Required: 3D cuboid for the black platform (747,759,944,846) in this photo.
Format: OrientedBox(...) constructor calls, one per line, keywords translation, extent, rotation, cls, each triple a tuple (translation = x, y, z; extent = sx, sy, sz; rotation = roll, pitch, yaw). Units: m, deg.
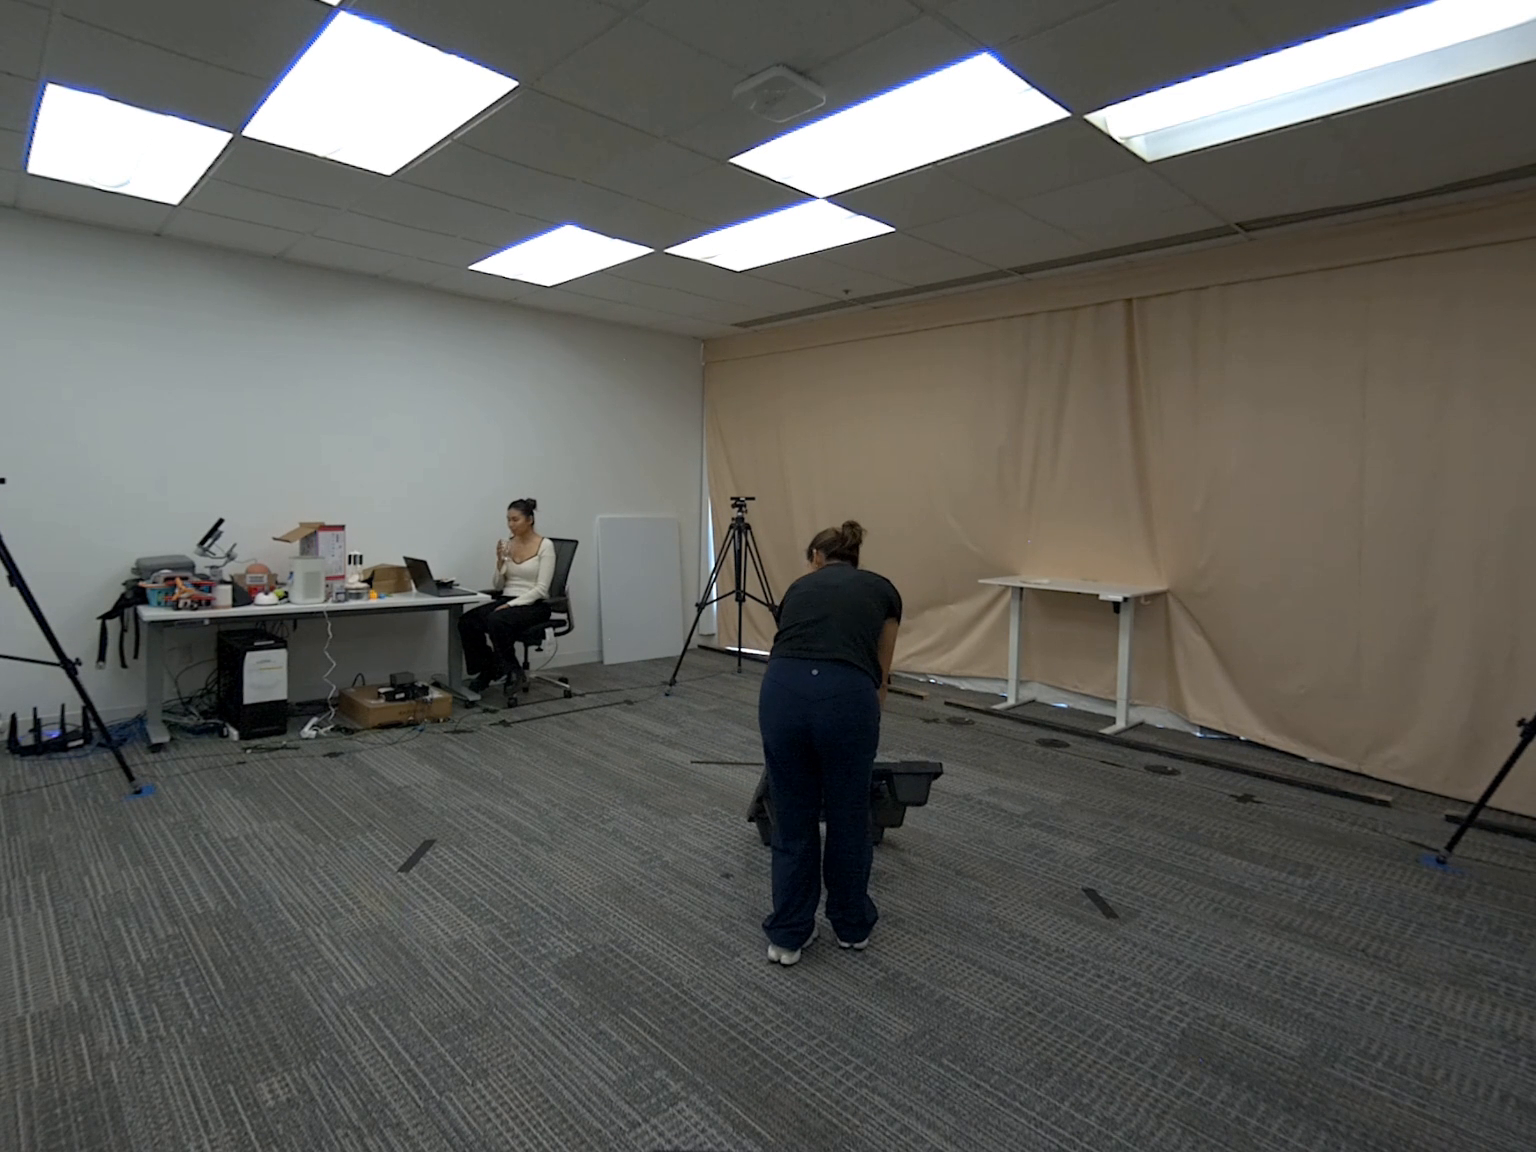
OrientedBox(translation=(0.251, 0.859, 3.103), extent=(0.603, 0.146, 0.793), rotation=(1, -29, -5), cls="black platform")
